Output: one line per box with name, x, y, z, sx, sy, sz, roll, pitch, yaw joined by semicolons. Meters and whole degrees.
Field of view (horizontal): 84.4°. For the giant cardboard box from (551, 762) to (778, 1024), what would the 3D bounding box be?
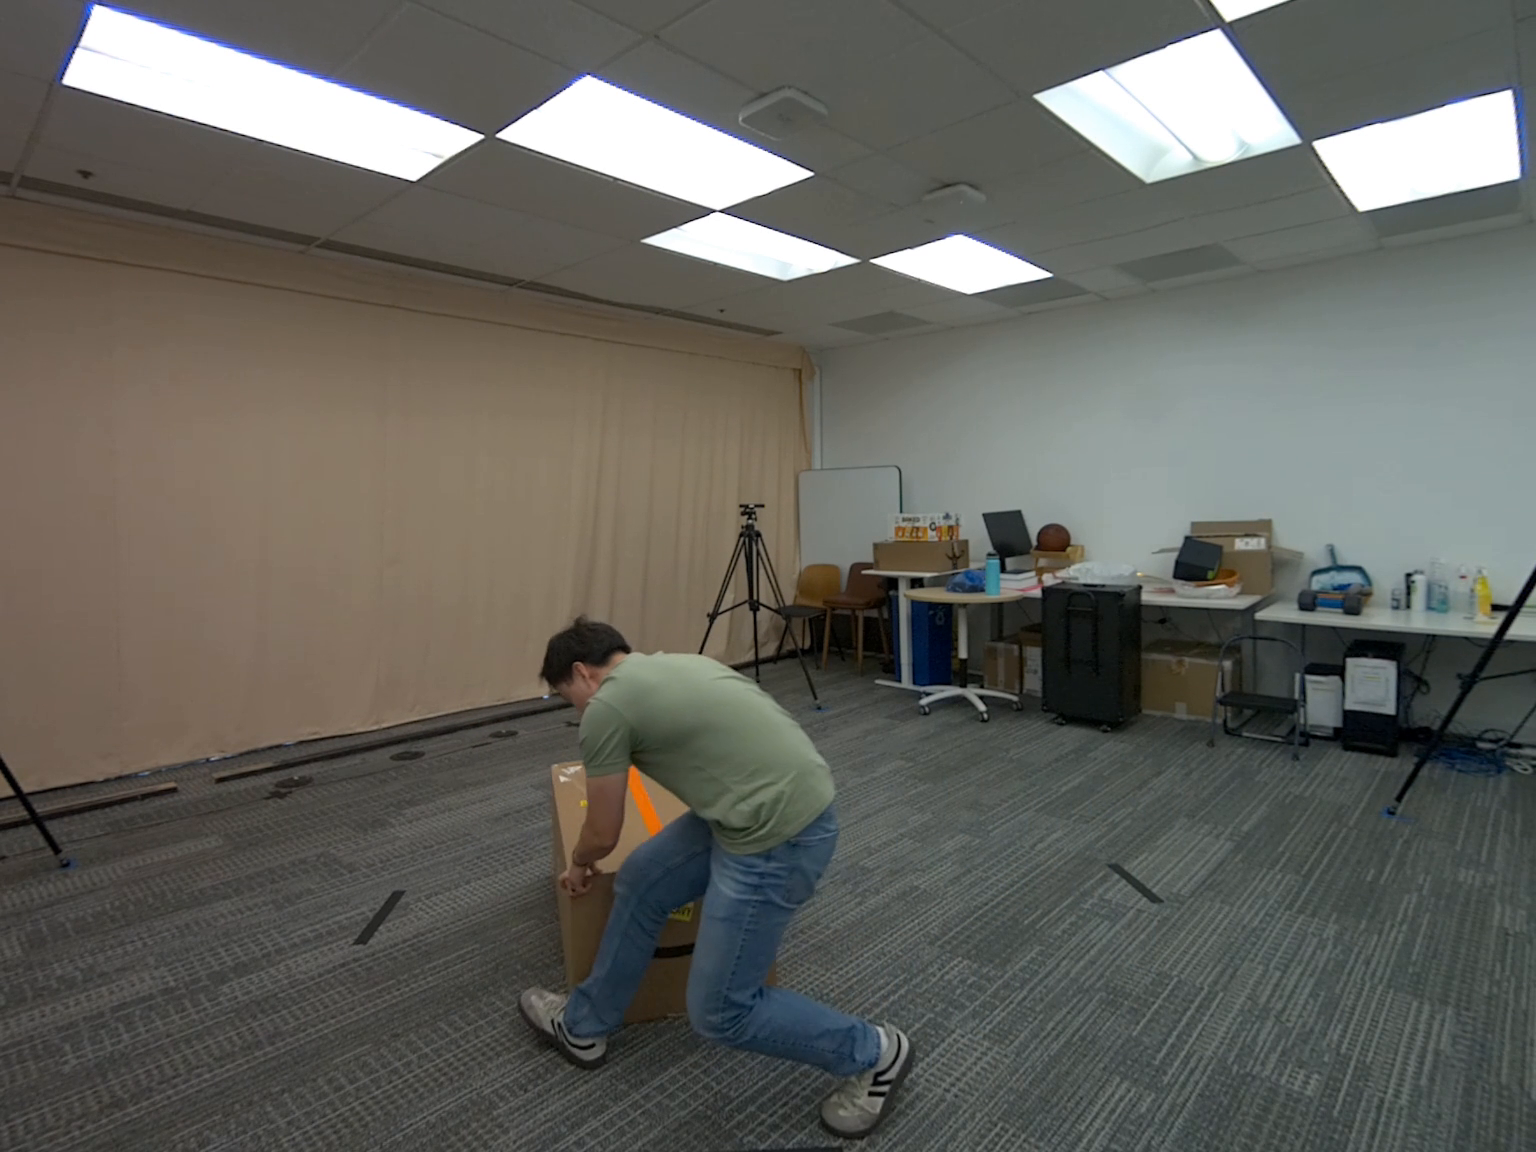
giant cardboard box;-0.393;0.951;2.787;0.568;0.425;1.045;-3;5;-16
